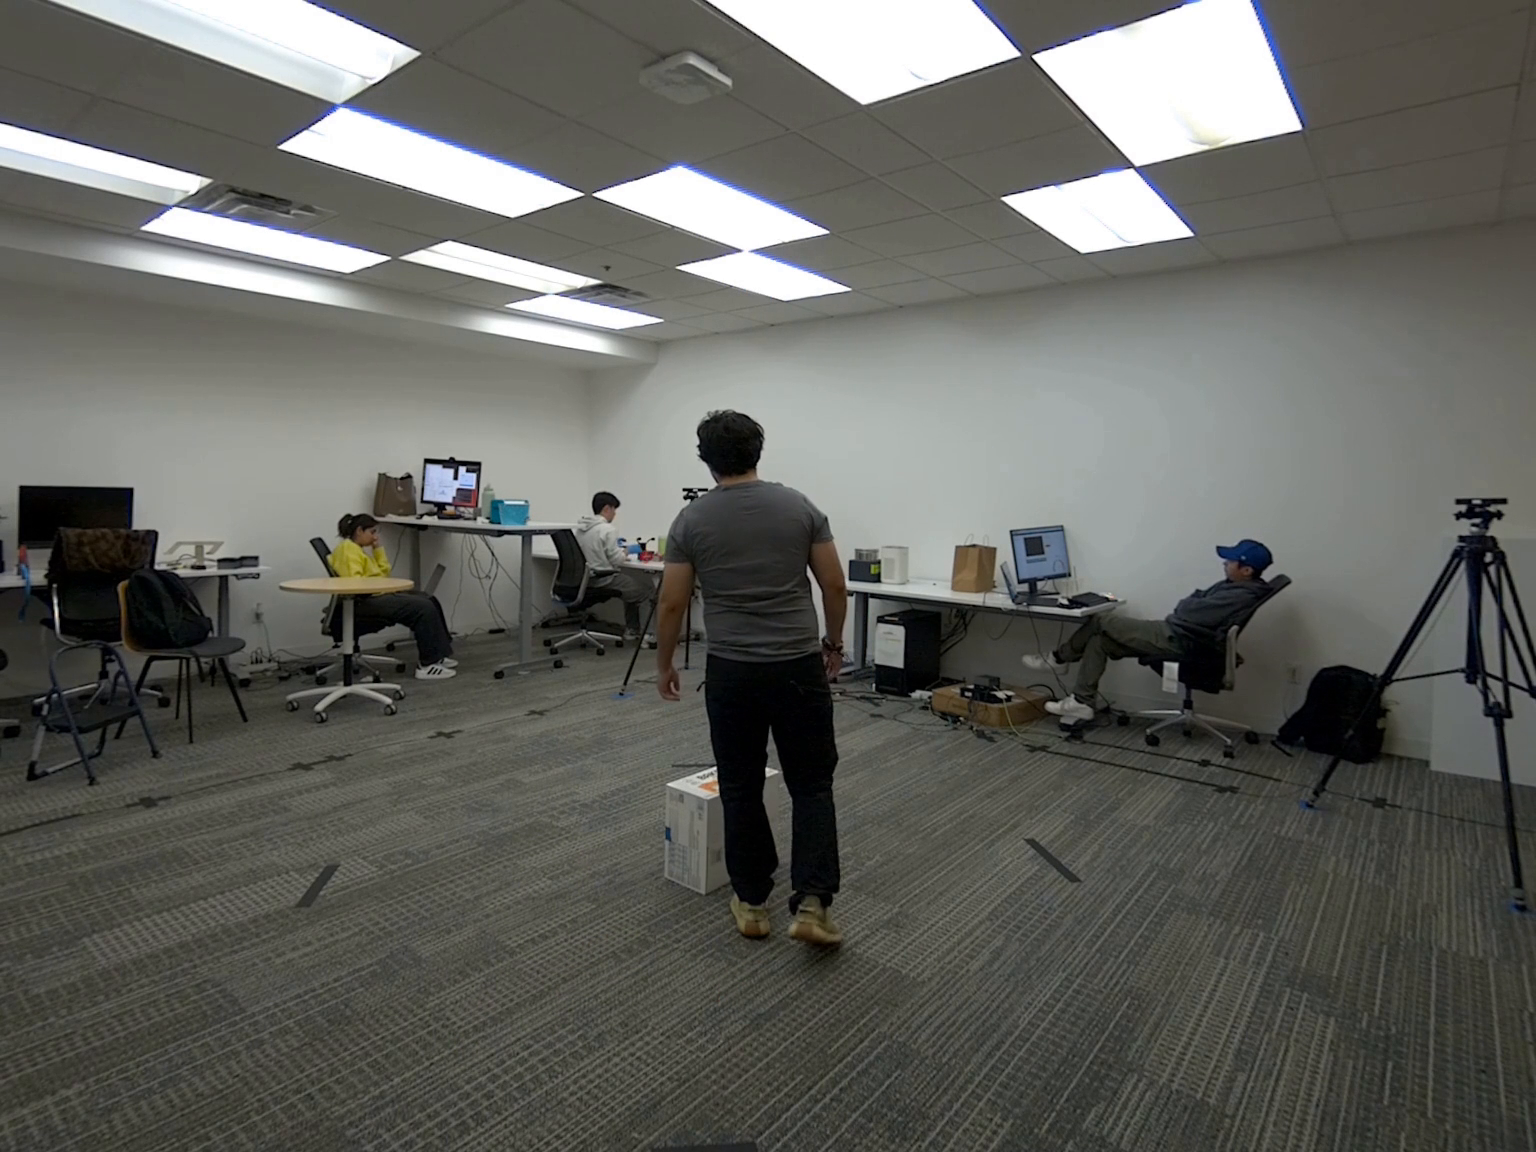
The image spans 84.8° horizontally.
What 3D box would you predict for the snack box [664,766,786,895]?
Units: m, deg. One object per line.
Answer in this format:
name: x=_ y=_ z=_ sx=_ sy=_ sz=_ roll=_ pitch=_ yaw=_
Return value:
snack box: x=-0.174 y=0.900 z=3.109 sx=0.212 sy=0.339 sz=0.393 roll=4 pitch=6 yaw=39
